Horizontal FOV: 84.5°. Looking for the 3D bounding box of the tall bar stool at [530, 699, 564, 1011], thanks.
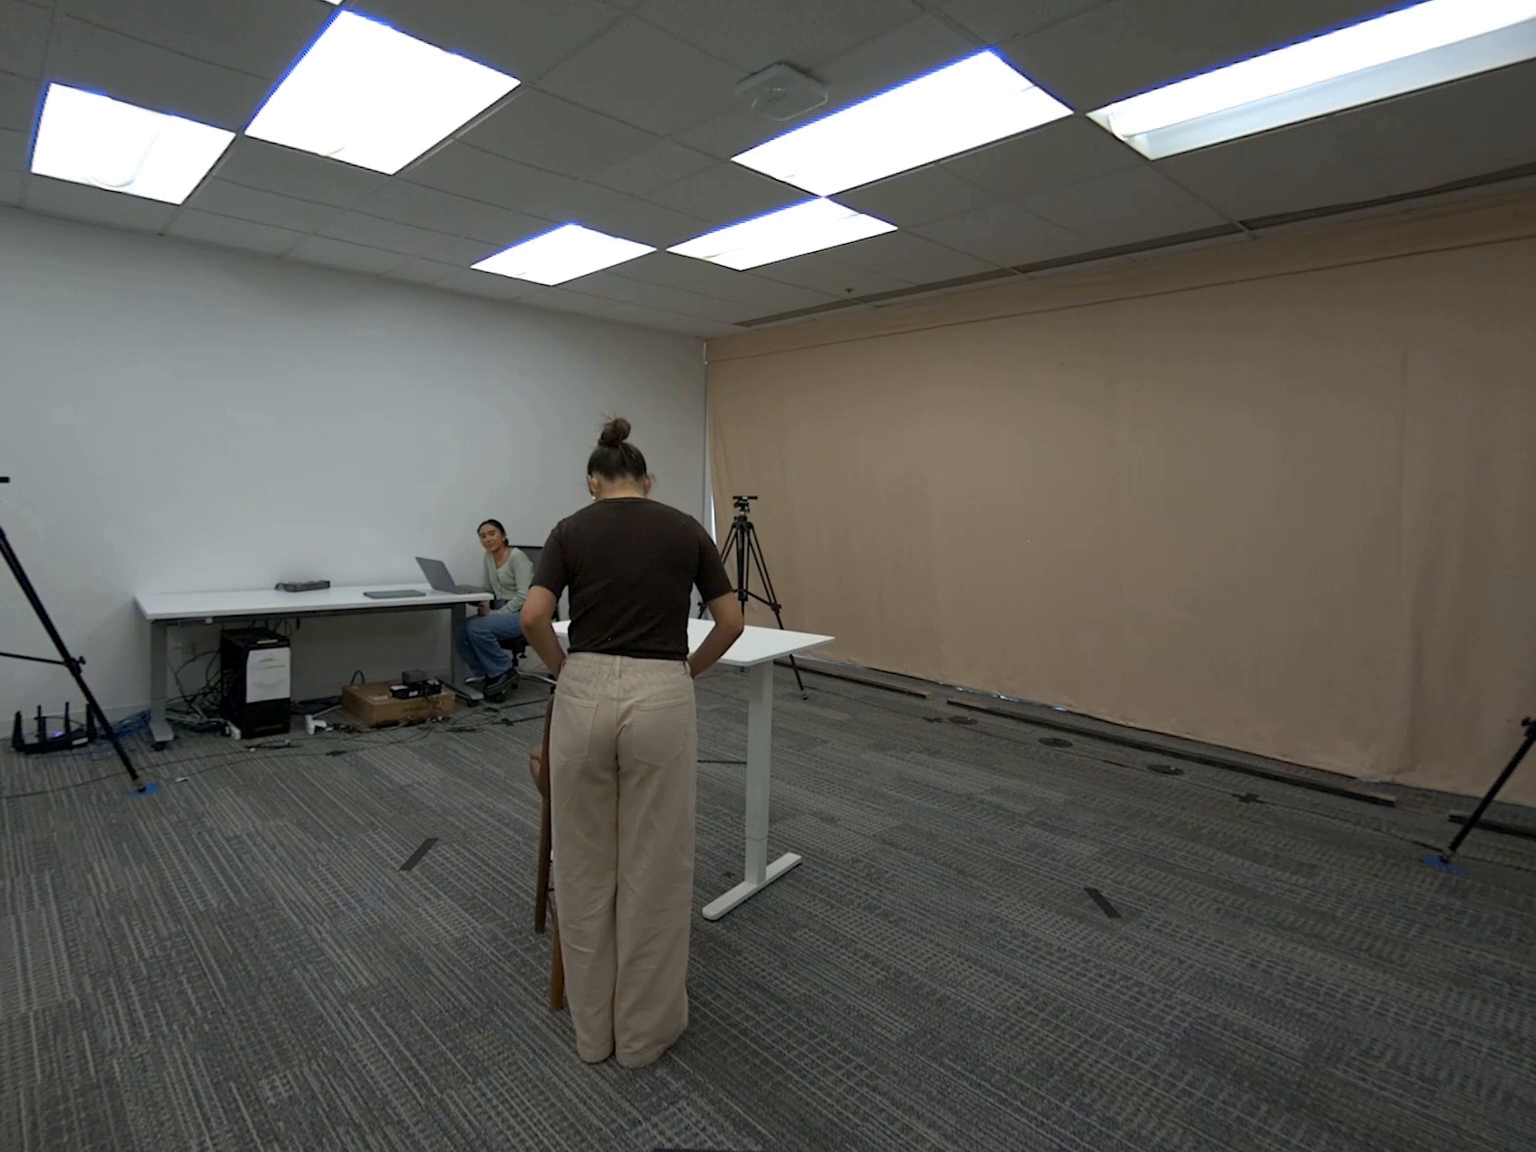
[{"bbox_3d":[-0.470,0.719,2.487,0.450,0.886,0.476,-1,6,-17],"label":"tall bar stool"}]
